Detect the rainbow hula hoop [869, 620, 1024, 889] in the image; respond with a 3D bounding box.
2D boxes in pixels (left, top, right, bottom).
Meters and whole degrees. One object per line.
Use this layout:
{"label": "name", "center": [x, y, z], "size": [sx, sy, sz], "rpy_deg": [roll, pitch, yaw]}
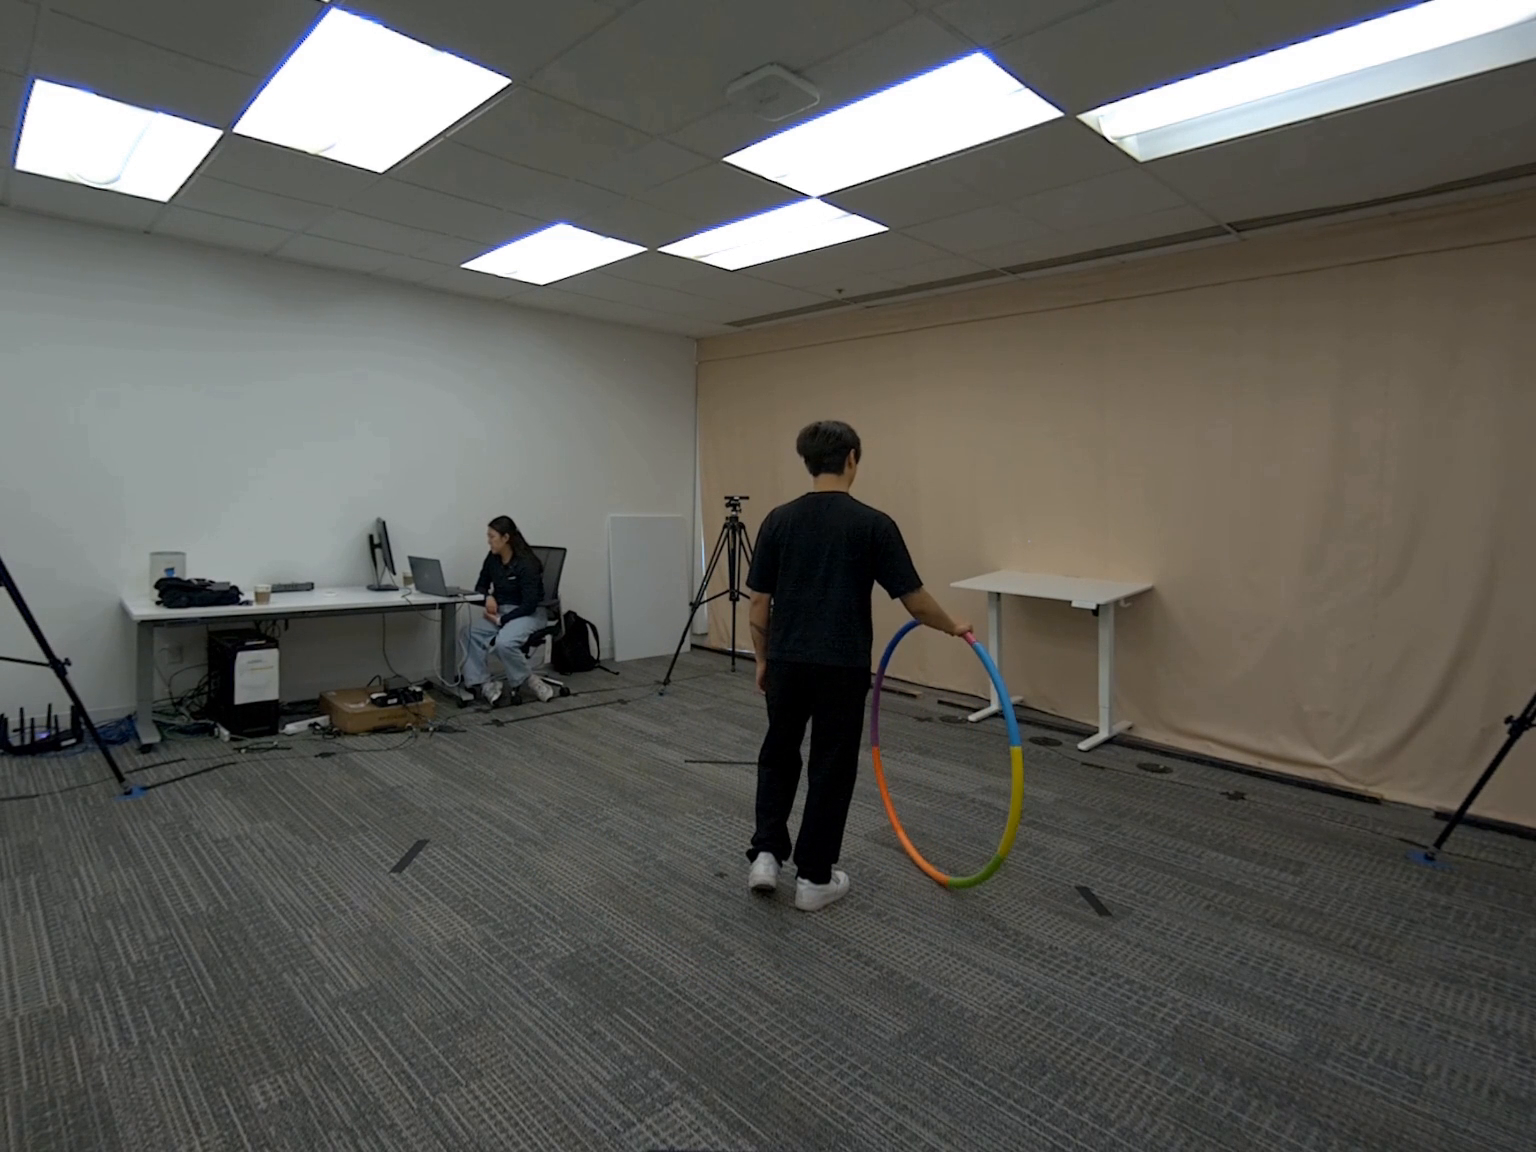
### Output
{"label": "rainbow hula hoop", "center": [0.604, 0.633, 3.124], "size": [0.035, 0.976, 0.995], "rpy_deg": [-1, 5, -19]}
